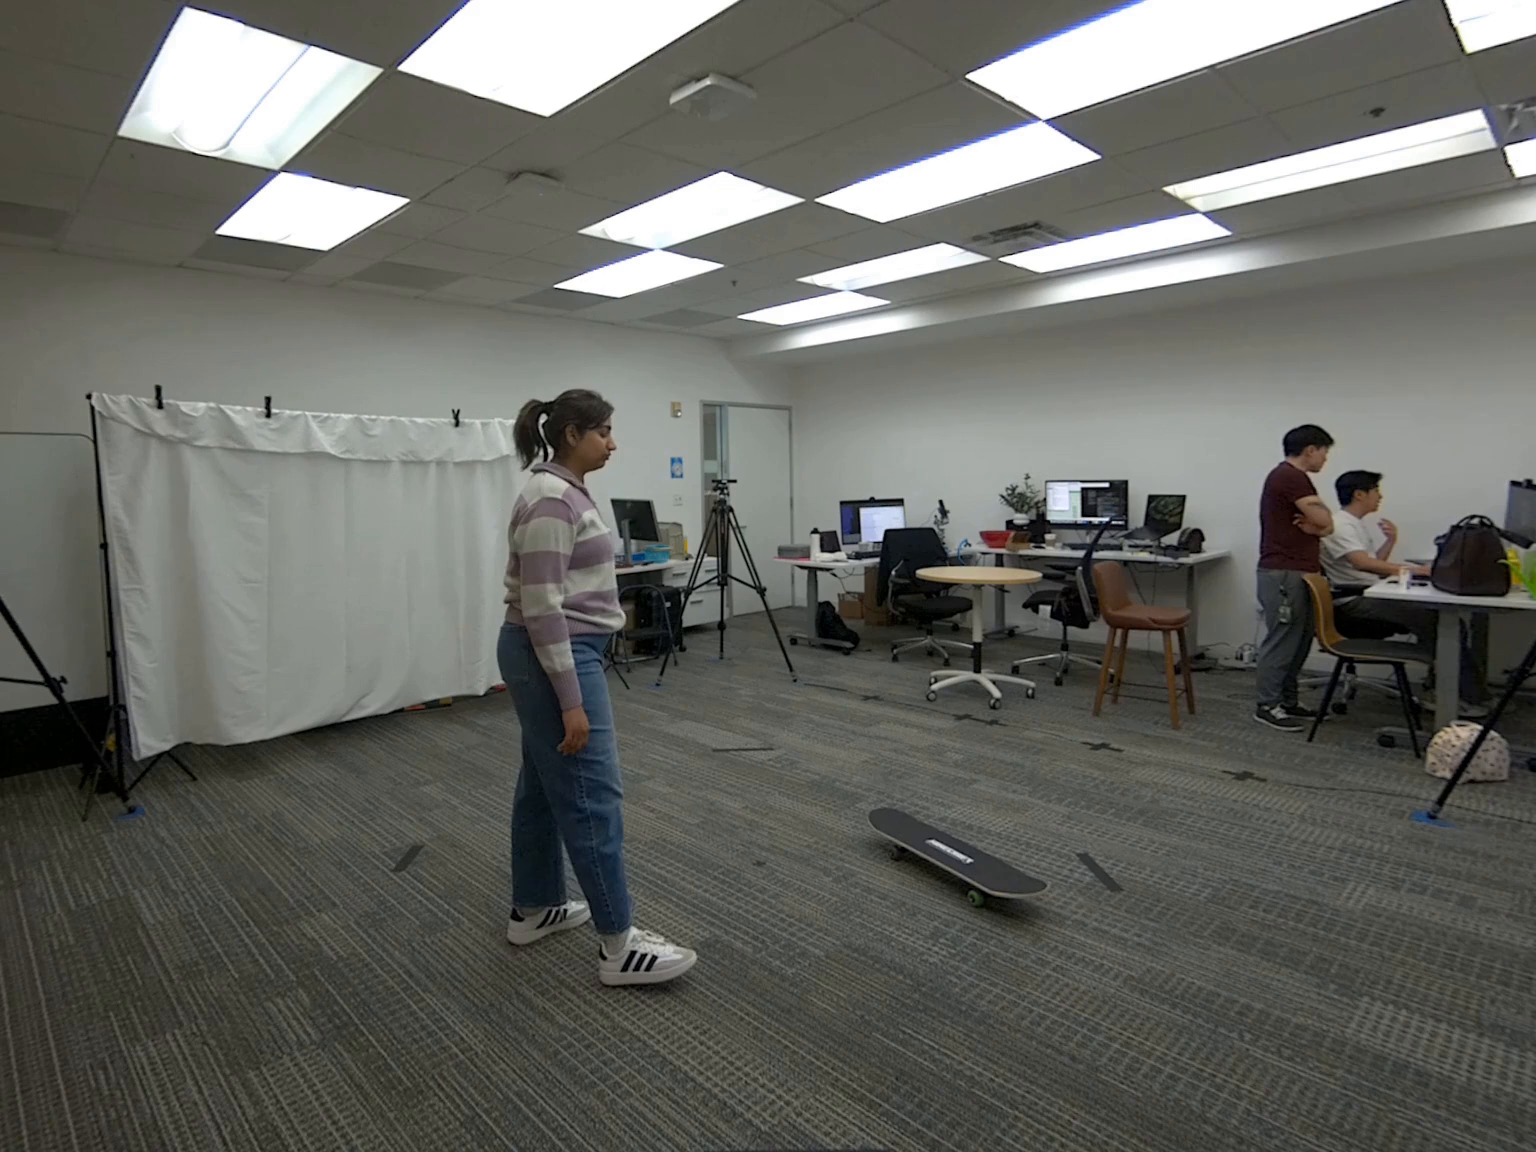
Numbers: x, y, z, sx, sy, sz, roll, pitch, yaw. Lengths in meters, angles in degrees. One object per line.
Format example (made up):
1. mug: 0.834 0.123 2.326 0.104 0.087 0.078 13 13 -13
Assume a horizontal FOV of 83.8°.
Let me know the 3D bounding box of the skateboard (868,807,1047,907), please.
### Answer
1. skateboard: 0.636 0.993 2.981 0.189 0.110 0.807 -4 7 -30
